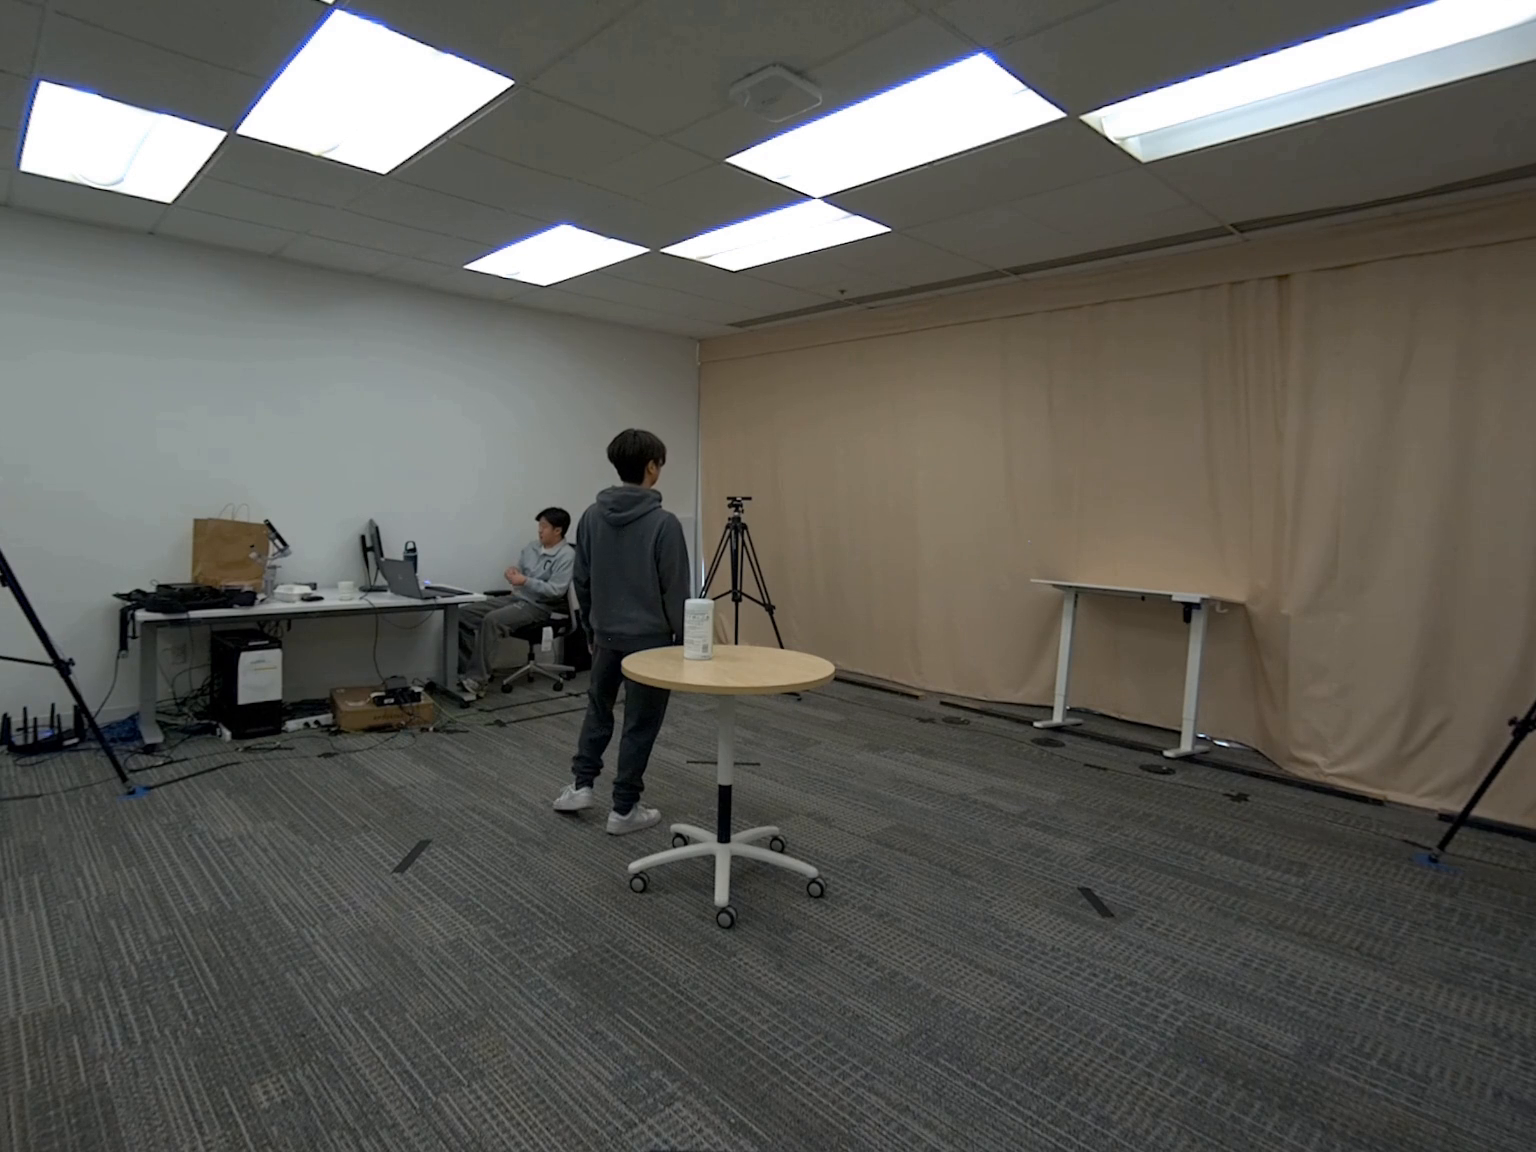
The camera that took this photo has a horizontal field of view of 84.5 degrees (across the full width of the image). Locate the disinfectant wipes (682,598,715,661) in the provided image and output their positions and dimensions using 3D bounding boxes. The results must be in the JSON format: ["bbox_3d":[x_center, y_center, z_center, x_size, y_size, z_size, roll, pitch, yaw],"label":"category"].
[{"bbox_3d":[-0.260,0.201,3.115,0.118,0.217,0.118,1,2,-1],"label":"disinfectant wipes"}]
